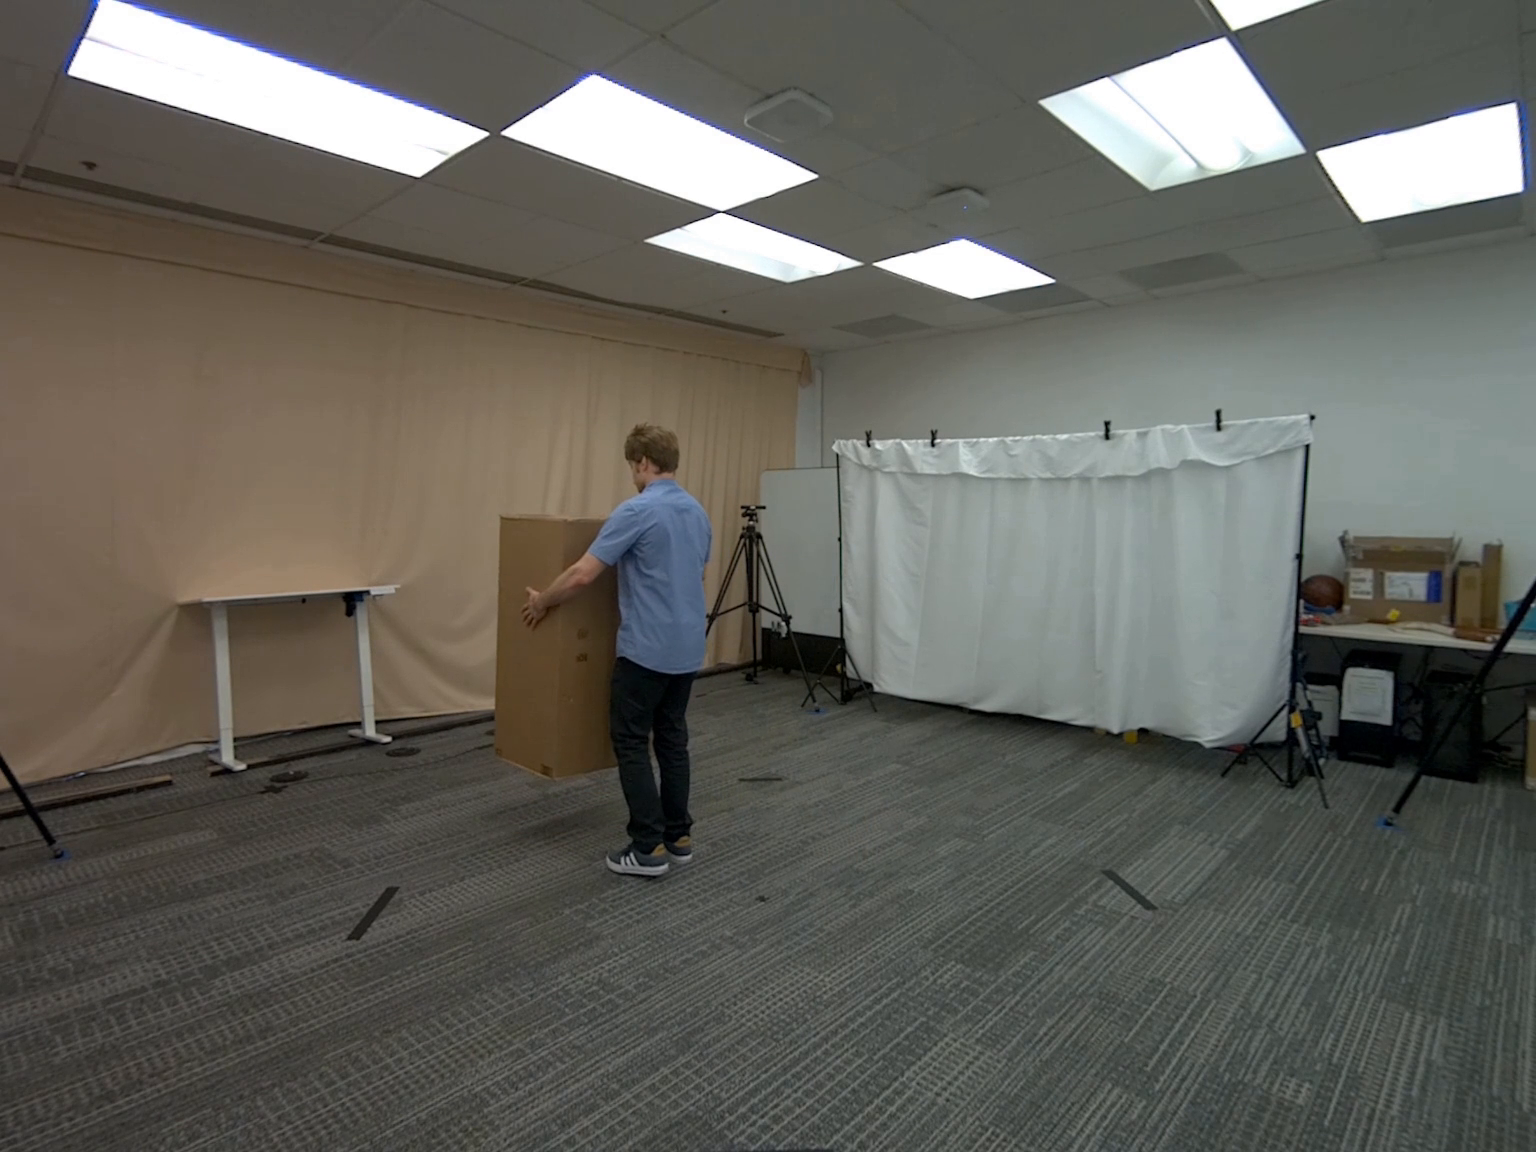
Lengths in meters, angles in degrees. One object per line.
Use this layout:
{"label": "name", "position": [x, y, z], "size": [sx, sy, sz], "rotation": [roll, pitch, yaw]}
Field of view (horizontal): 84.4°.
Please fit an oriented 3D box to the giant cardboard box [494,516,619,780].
{"label": "giant cardboard box", "position": [-0.788, 0.266, 3.578], "size": [0.441, 1.024, 0.559], "rotation": [6, 5, 41]}
